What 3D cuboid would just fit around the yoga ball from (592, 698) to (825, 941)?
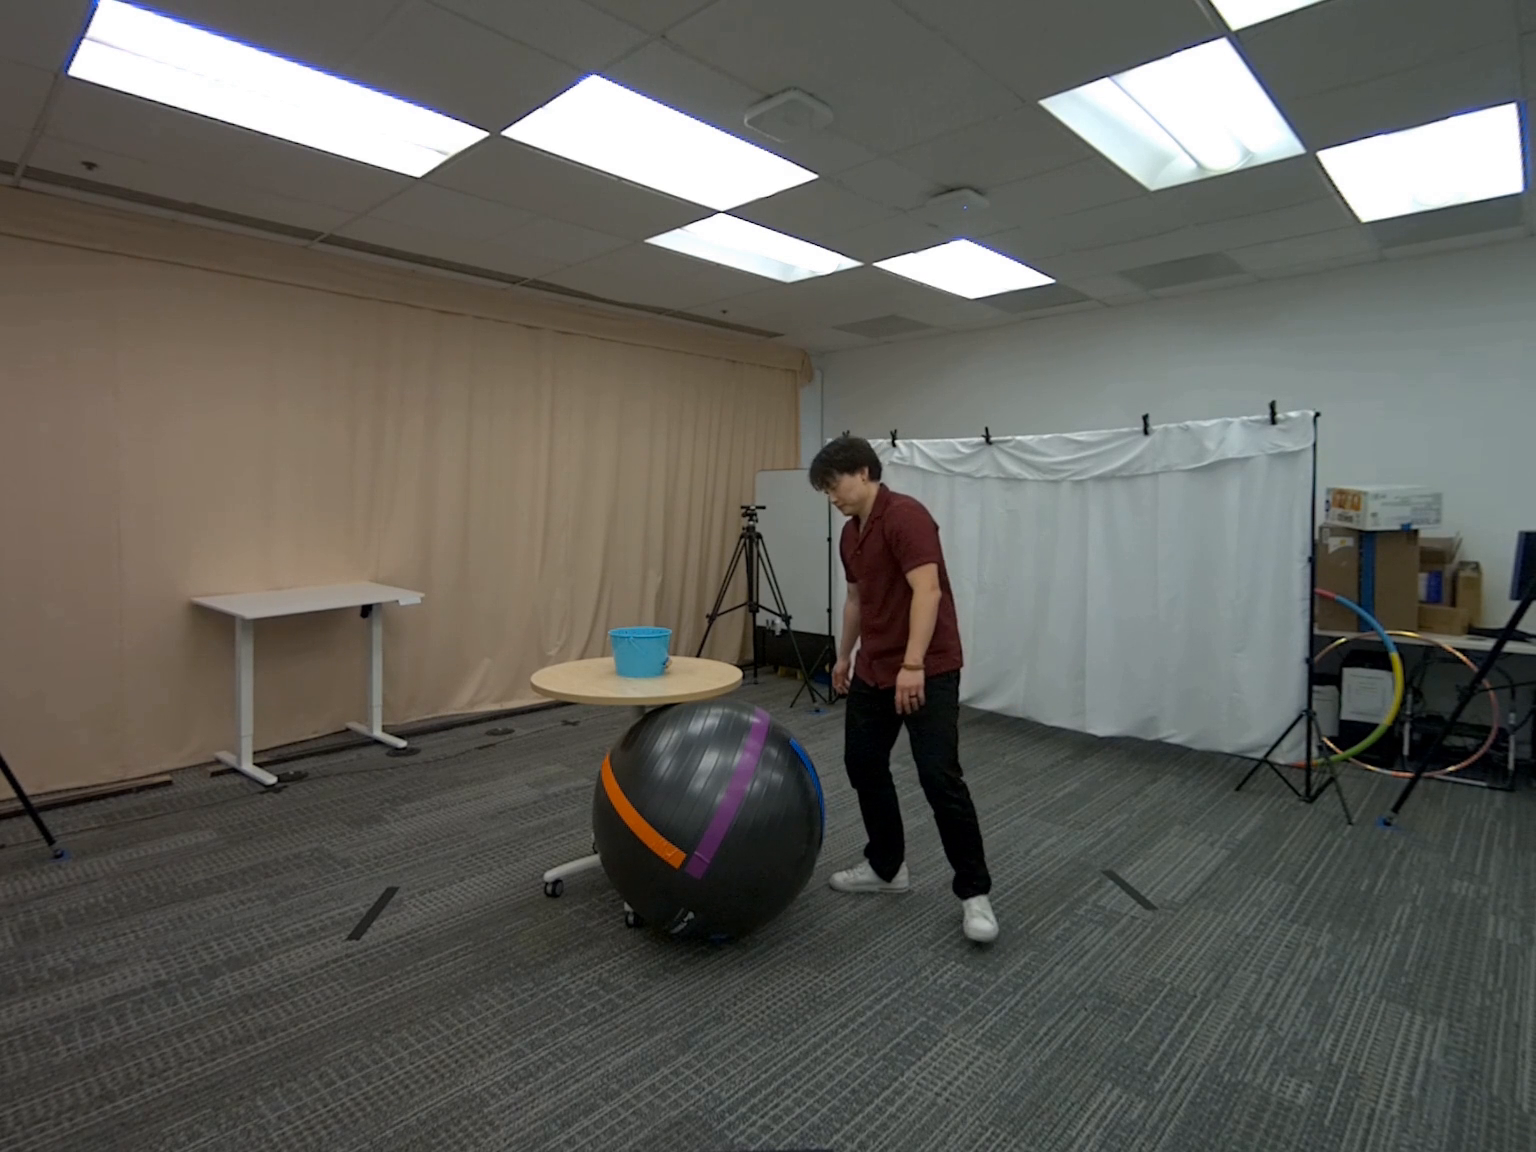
[{"bbox_3d":[-0.194,0.789,2.756,0.757,0.756,0.761,0,4,-2],"label":"yoga ball"}]
